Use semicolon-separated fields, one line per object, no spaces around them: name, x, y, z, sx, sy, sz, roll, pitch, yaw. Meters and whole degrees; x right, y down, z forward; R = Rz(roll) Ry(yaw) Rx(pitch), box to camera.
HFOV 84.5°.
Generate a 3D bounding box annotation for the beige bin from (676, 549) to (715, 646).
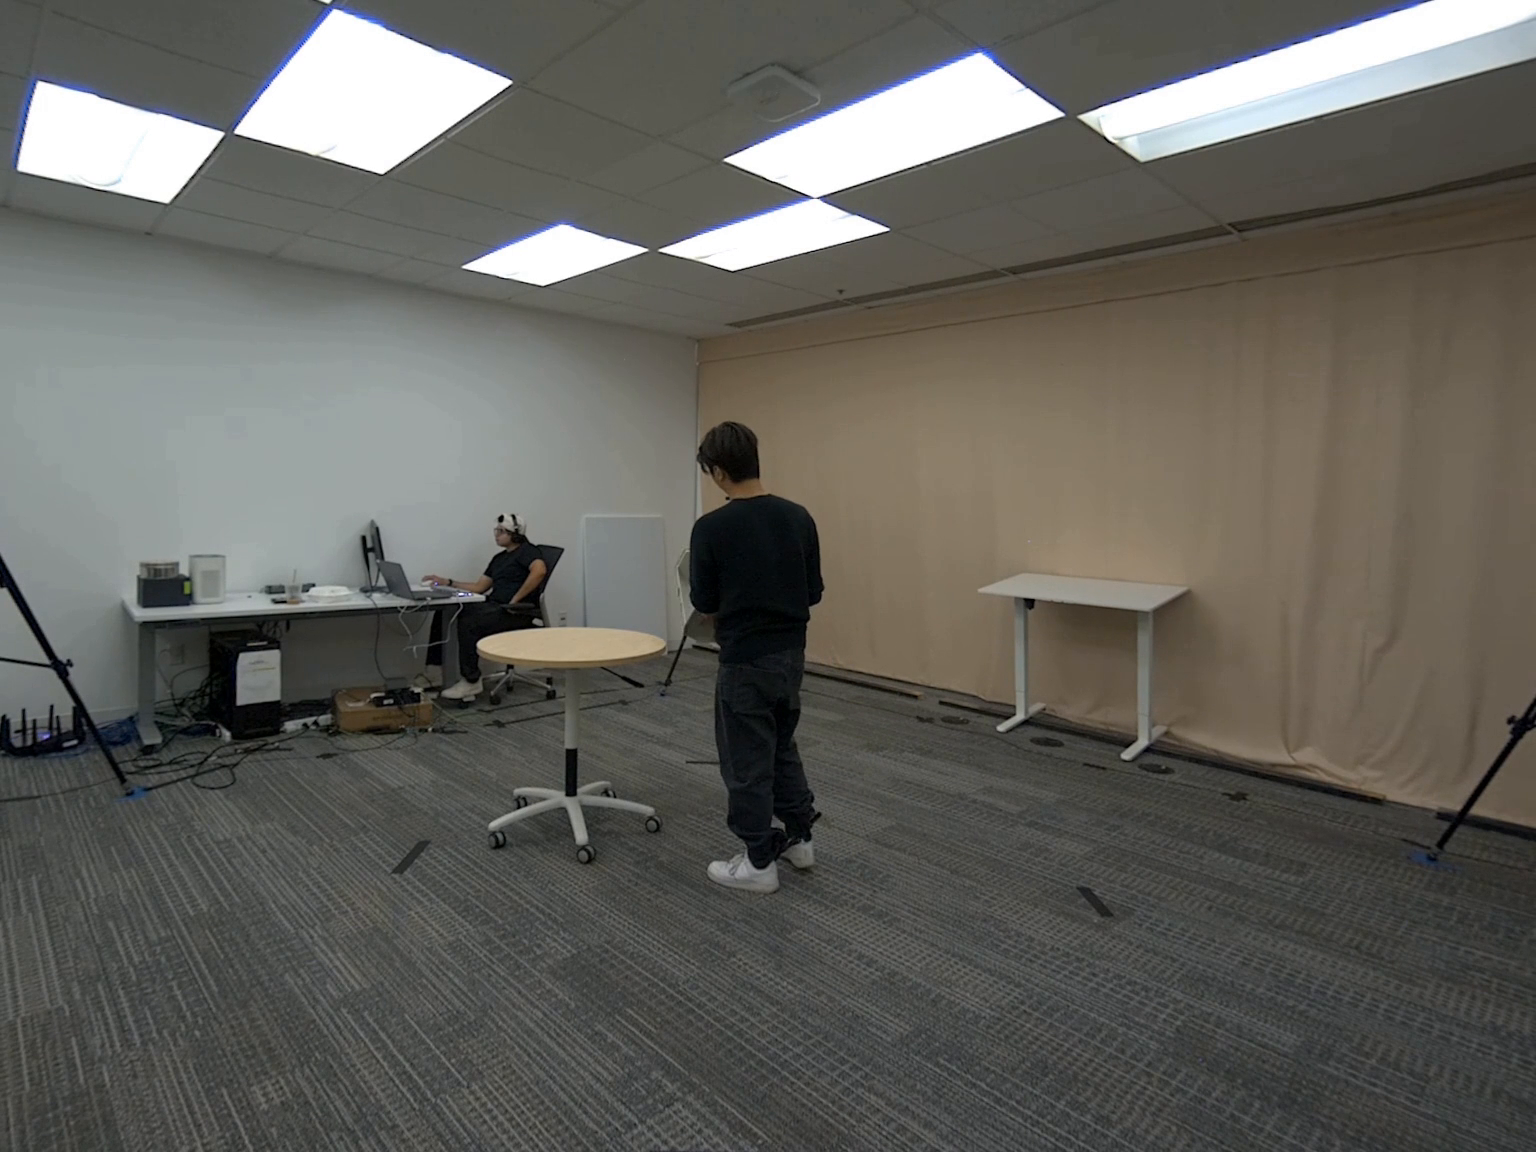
beige bin;-0.187;0.083;3.515;0.374;0.186;0.433;1;34;-12
